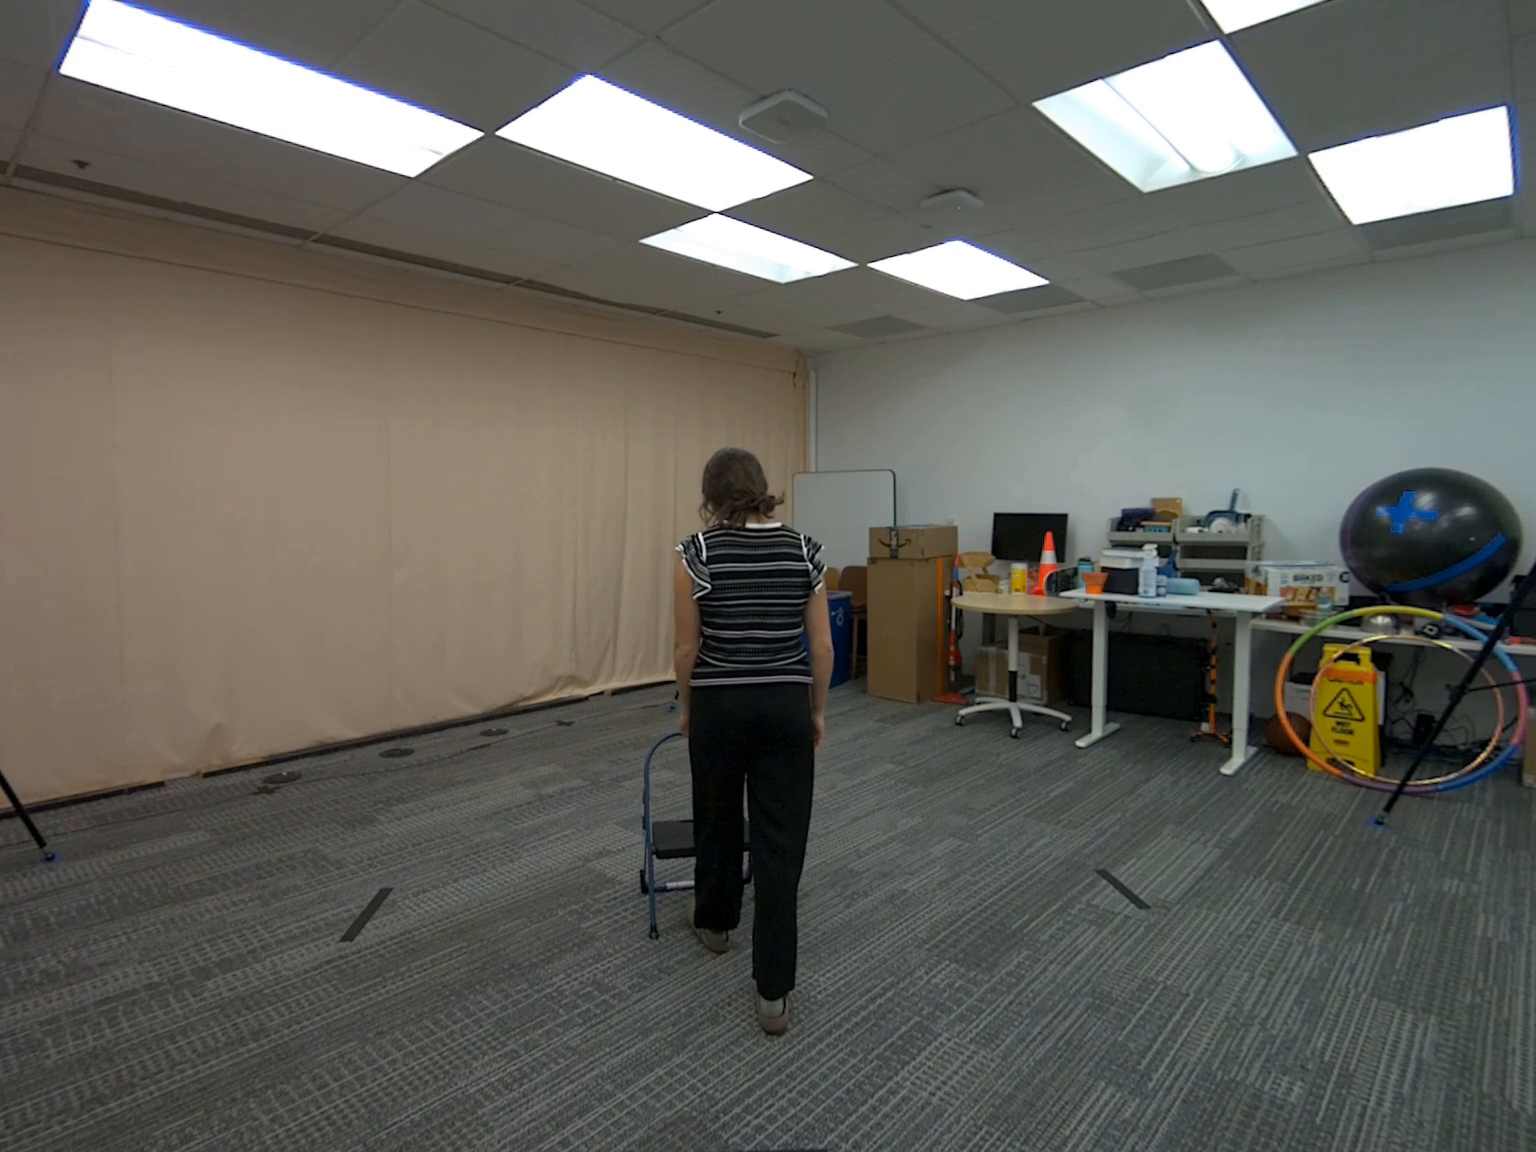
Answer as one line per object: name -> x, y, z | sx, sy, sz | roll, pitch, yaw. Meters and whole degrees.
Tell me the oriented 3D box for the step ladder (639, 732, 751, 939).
step ladder -> -0.221, 0.852, 2.906 | 0.425, 0.604, 0.355 | -1, 4, -13
